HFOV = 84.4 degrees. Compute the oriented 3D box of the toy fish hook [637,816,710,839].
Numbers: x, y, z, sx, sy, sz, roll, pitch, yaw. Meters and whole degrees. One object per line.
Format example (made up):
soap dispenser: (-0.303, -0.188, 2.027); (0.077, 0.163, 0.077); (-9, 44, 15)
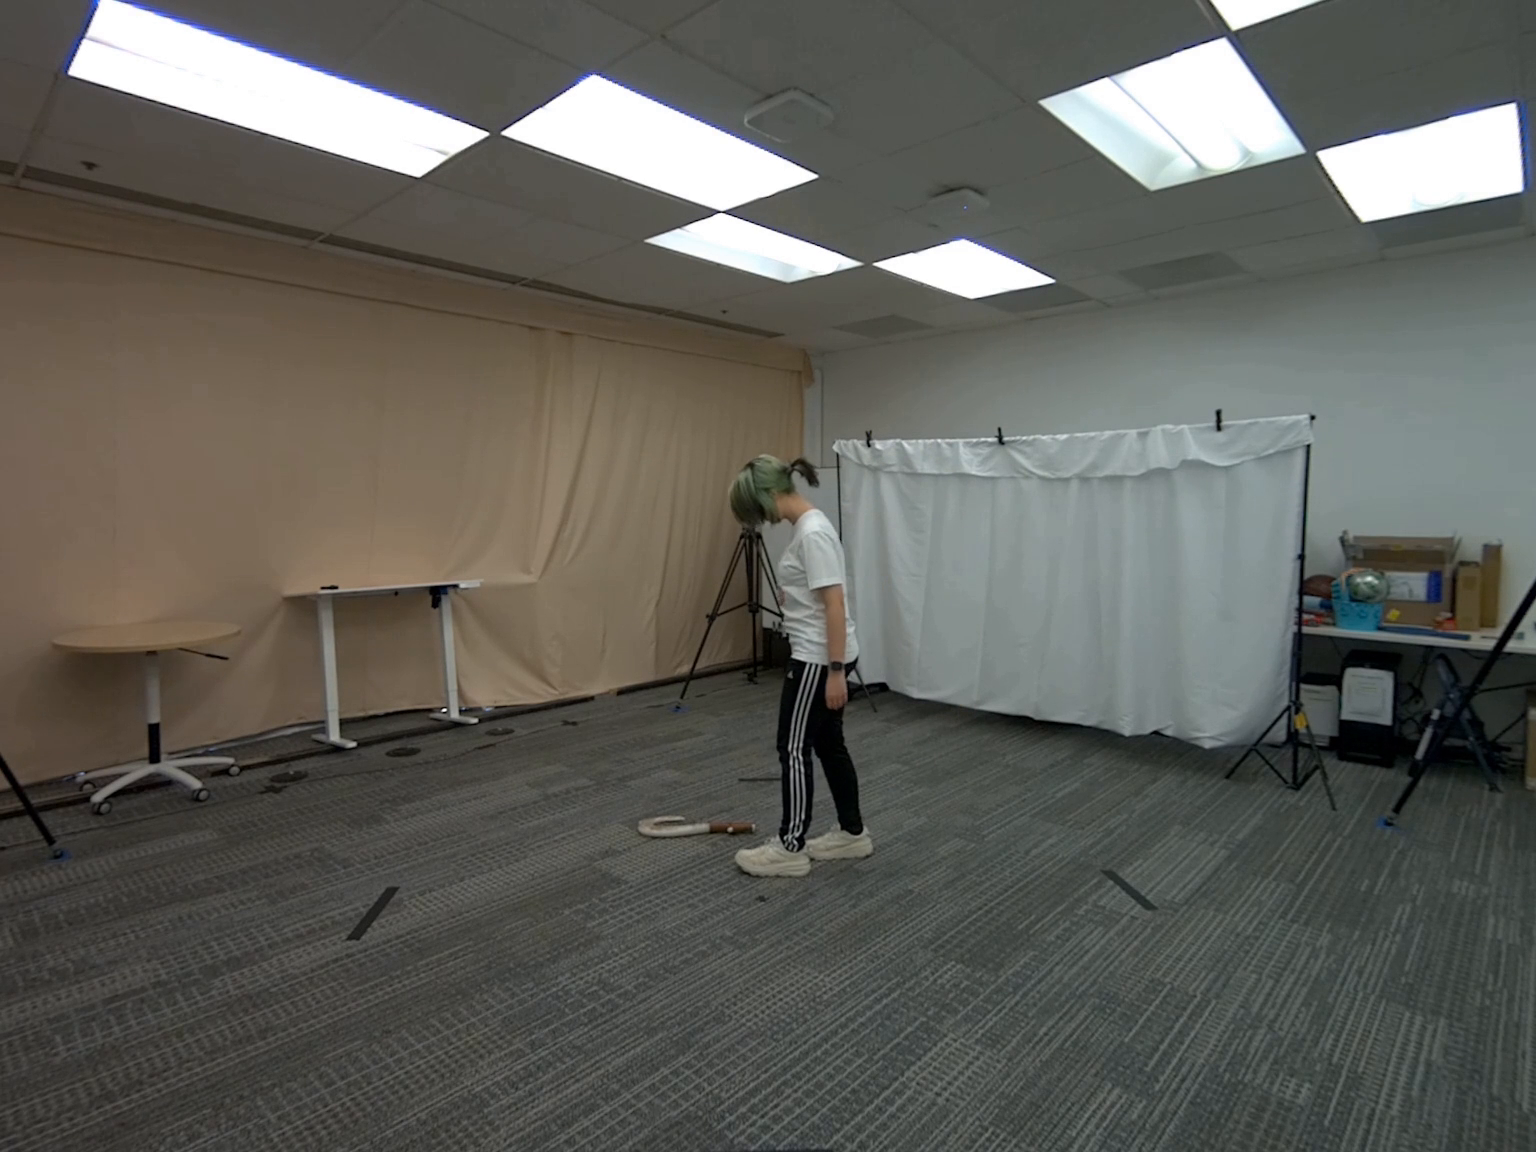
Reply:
toy fish hook: (-0.305, 1.067, 3.629); (0.506, 0.048, 0.225); (0, 5, -1)
